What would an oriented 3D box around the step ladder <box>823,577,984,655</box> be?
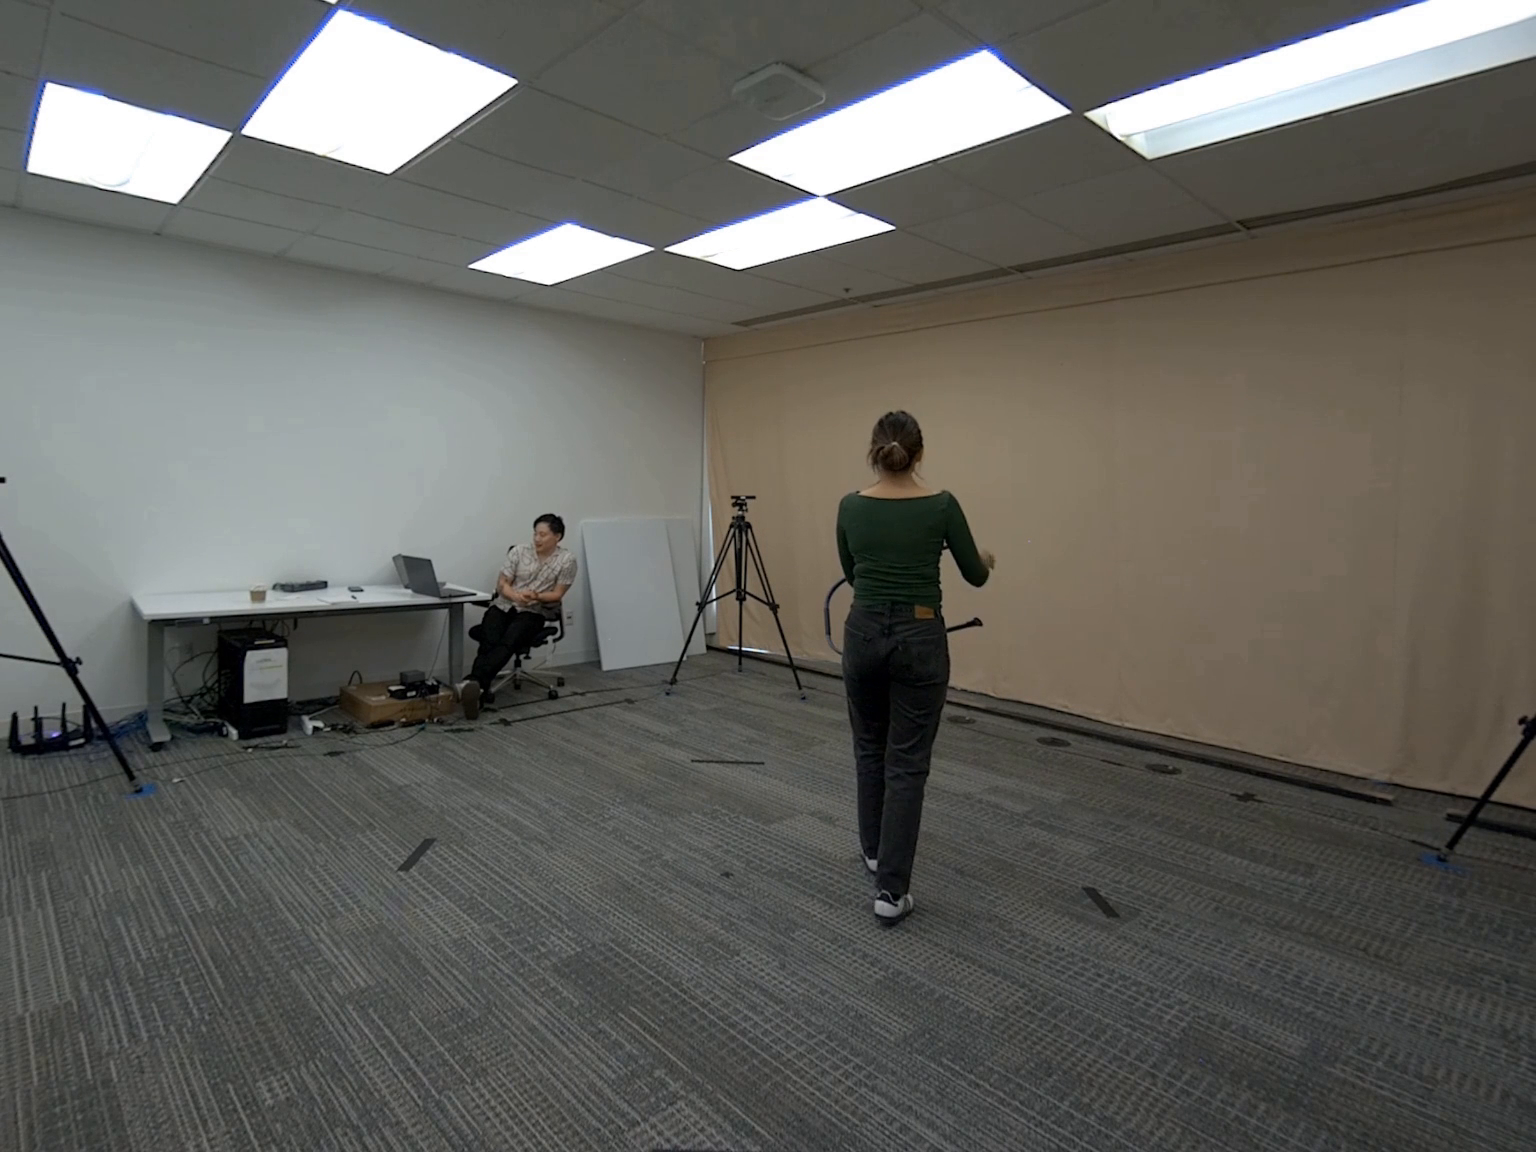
[{"bbox_3d":[0.513,0.096,3.485,0.340,0.440,0.609,26,-45,-29],"label":"step ladder"}]
